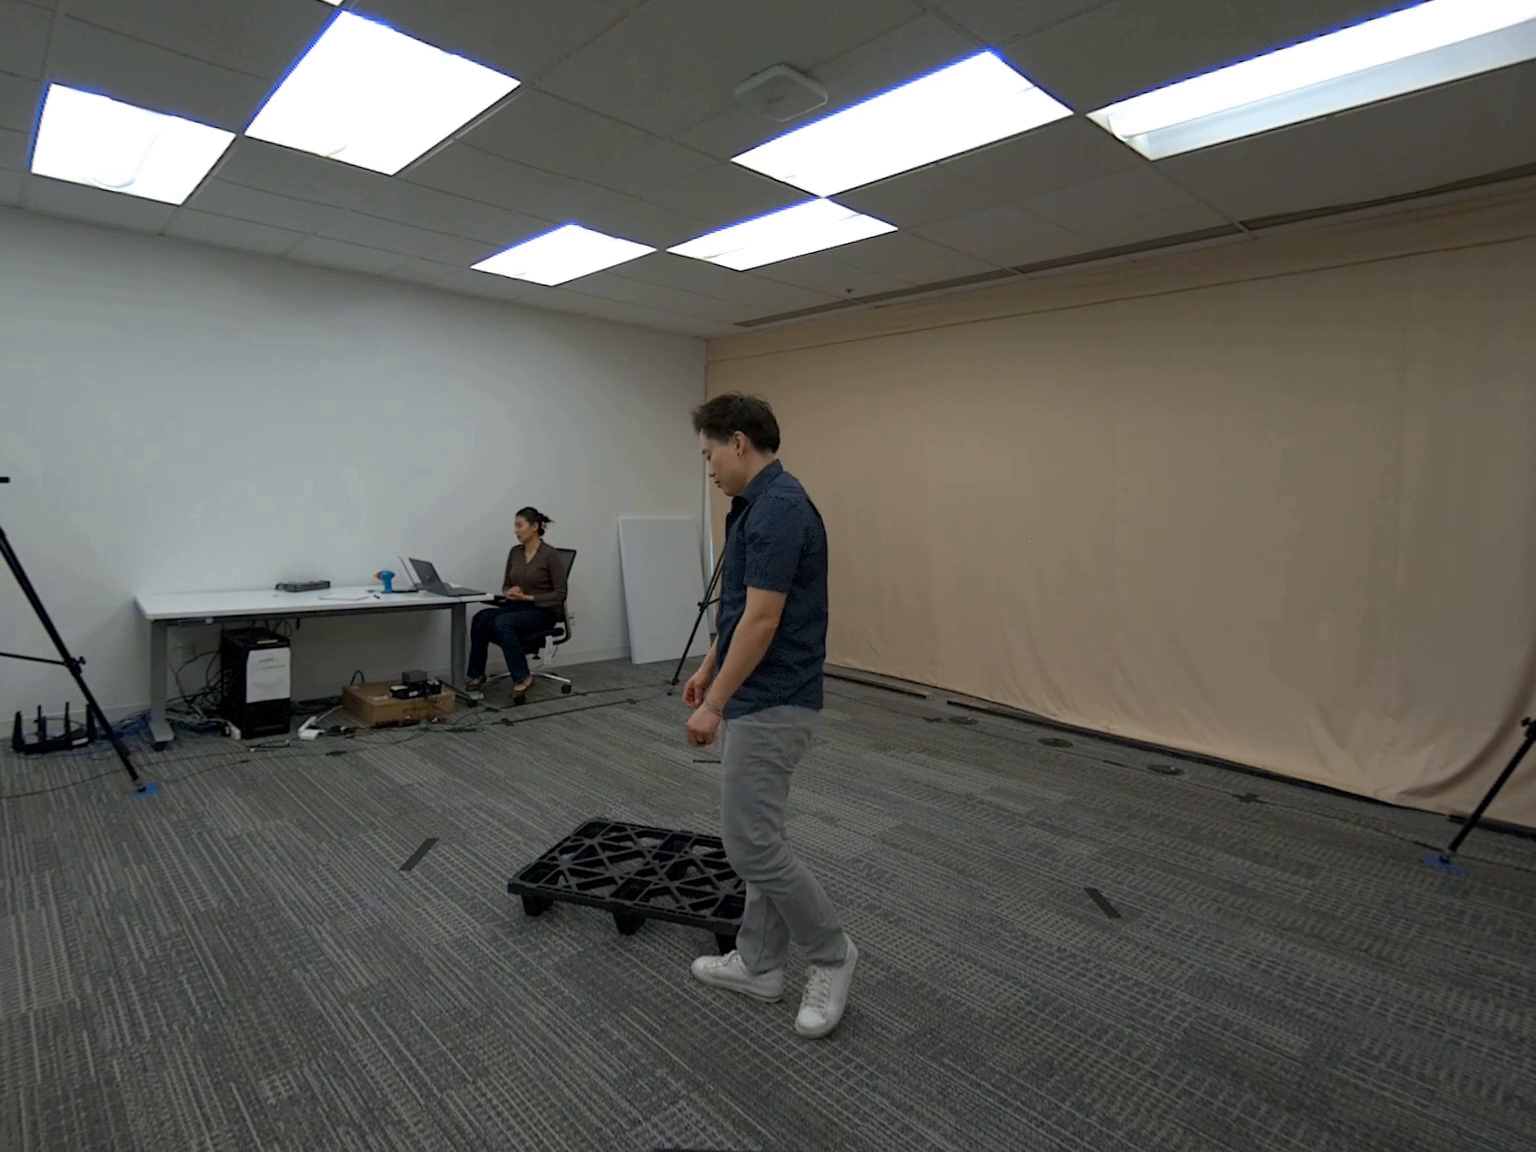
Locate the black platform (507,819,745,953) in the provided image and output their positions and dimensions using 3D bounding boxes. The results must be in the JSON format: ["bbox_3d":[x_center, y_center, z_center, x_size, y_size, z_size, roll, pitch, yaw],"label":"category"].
[{"bbox_3d":[-0.389,1.050,2.879,0.817,0.143,0.599,3,6,17],"label":"black platform"}]
